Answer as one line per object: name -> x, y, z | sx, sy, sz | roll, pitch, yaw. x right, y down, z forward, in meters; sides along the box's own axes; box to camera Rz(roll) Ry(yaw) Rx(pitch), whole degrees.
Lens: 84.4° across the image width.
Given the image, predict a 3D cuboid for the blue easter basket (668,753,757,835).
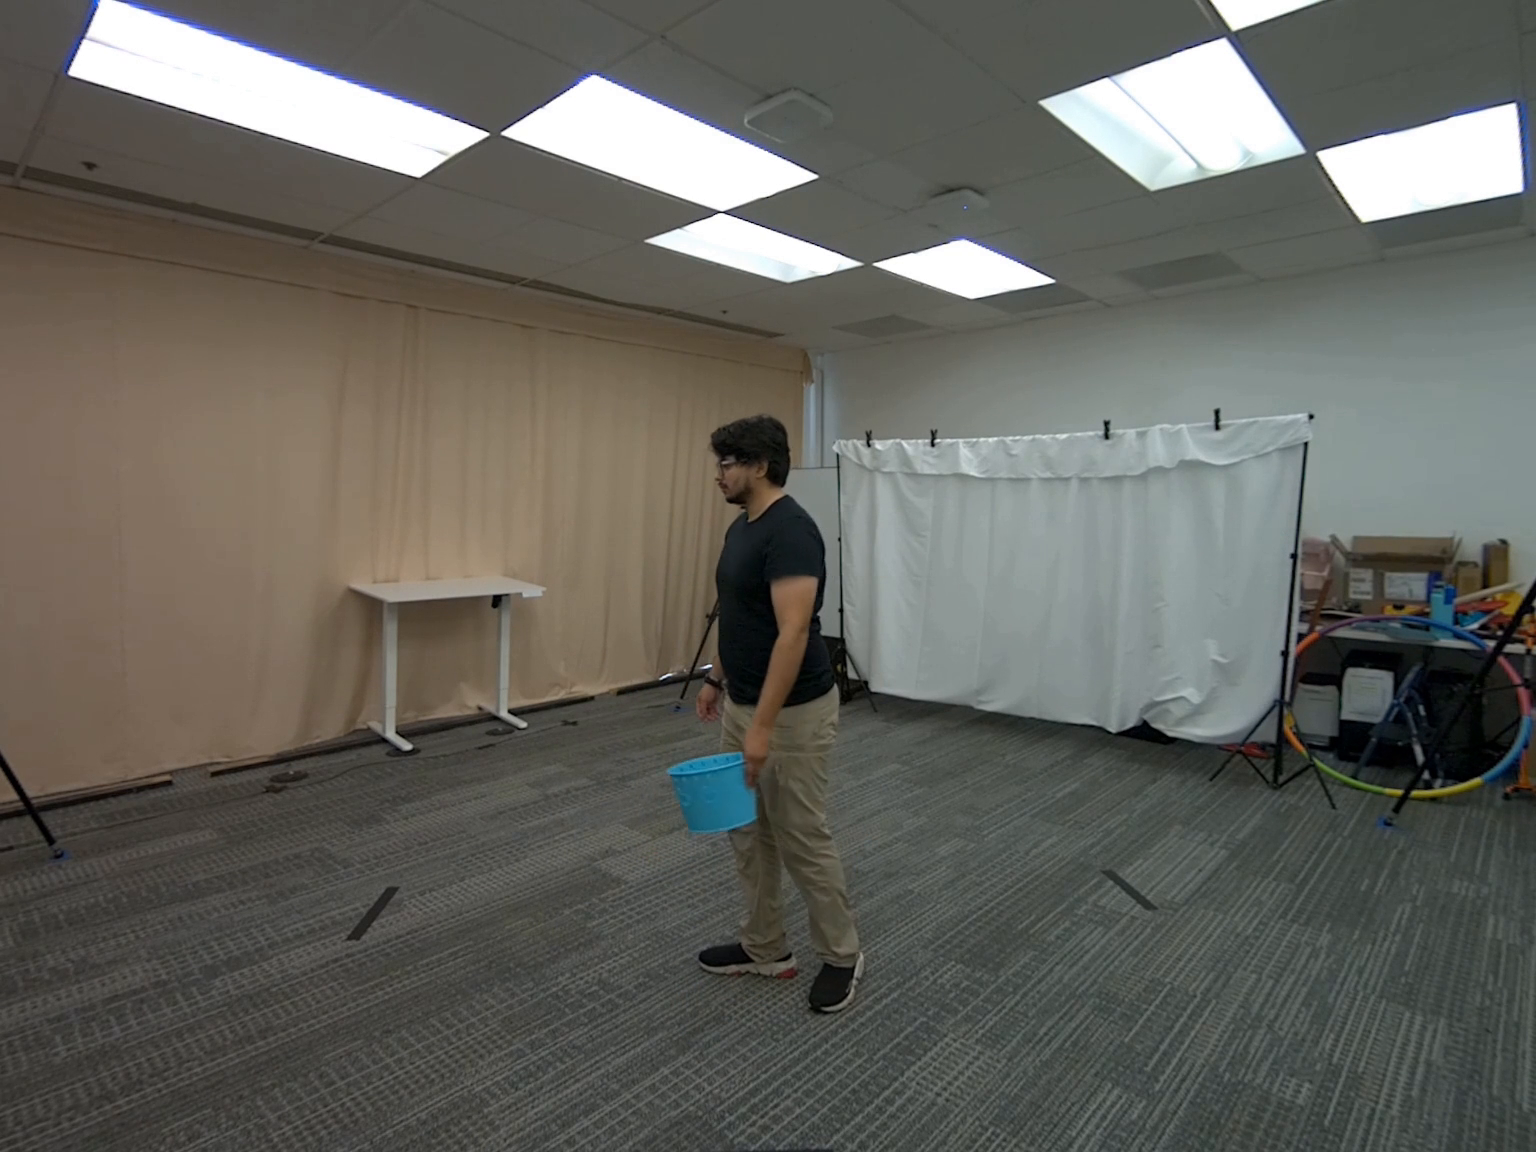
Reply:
blue easter basket -> -0.131, 0.535, 2.152 | 0.243, 0.156, 0.243 | -9, -3, -2
